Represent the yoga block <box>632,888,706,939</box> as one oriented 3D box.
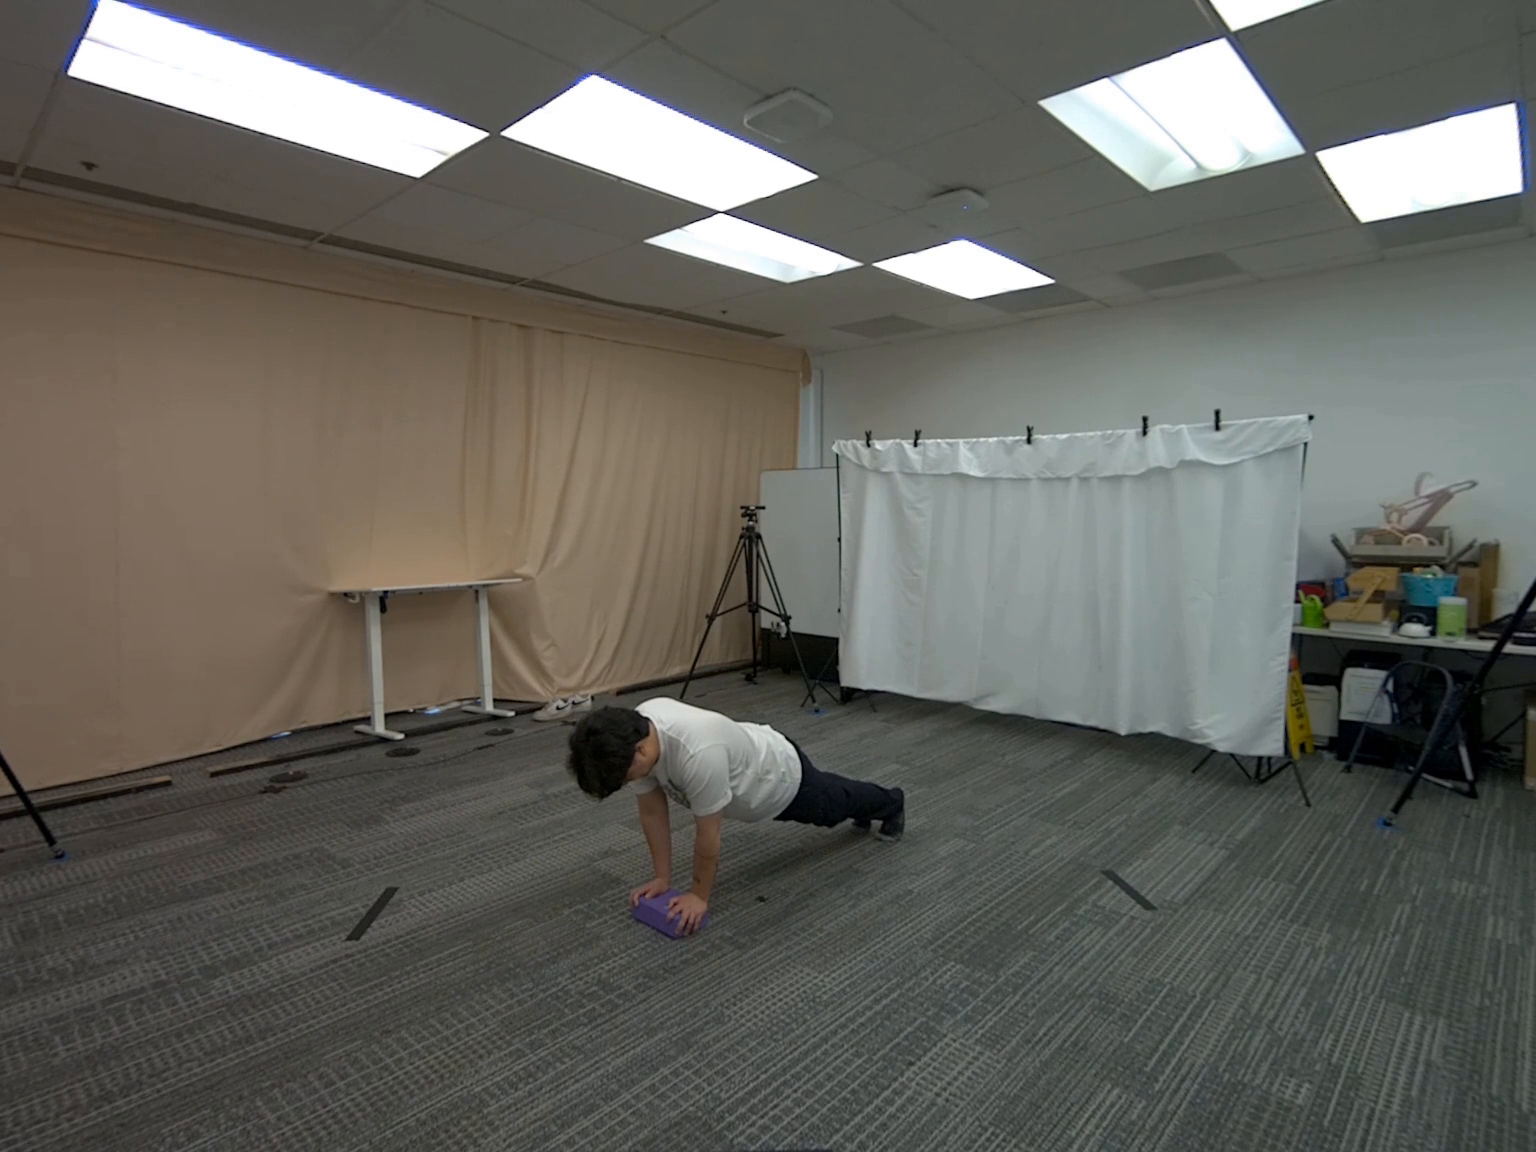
[{"bbox_3d":[-0.329,1.126,2.824,0.237,0.076,0.144,4,7,42],"label":"yoga block"}]
